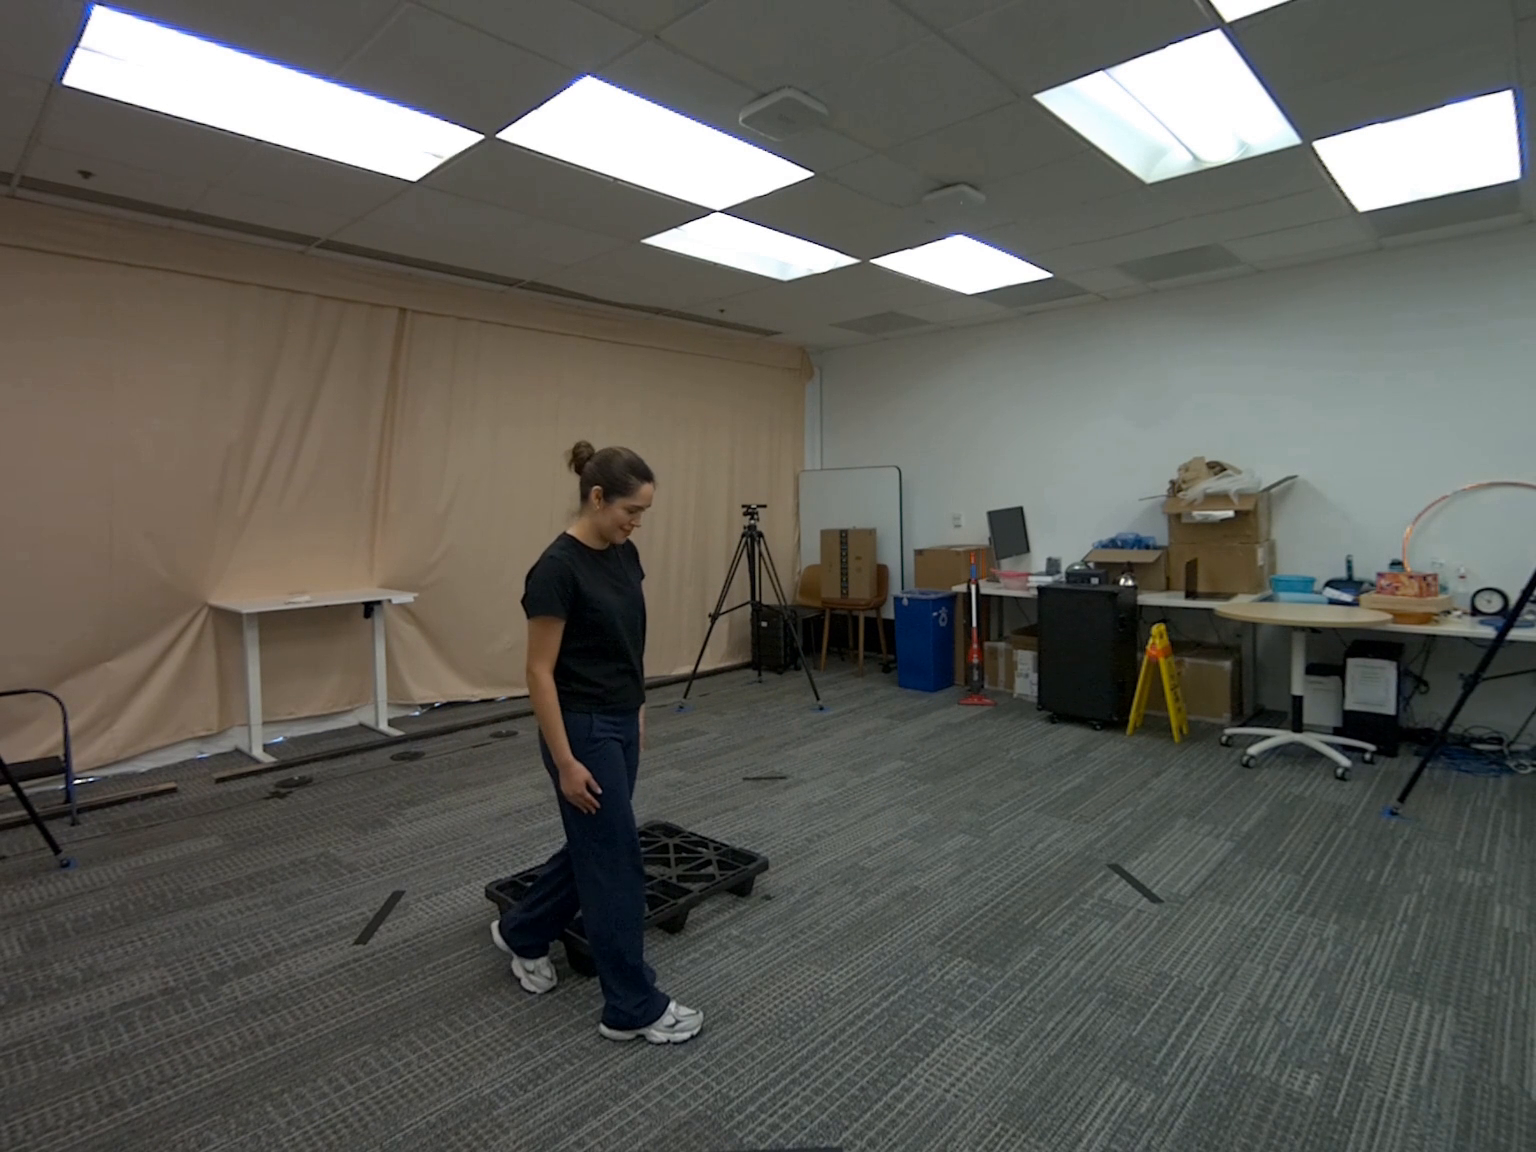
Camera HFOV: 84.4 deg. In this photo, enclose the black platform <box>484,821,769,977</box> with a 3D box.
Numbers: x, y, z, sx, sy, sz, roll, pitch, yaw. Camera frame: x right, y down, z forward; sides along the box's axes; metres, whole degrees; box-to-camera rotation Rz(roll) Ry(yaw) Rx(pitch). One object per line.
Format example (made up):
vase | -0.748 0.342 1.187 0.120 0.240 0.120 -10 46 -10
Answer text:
black platform | -0.453 1.089 2.914 0.625 0.143 0.782 4 7 42
